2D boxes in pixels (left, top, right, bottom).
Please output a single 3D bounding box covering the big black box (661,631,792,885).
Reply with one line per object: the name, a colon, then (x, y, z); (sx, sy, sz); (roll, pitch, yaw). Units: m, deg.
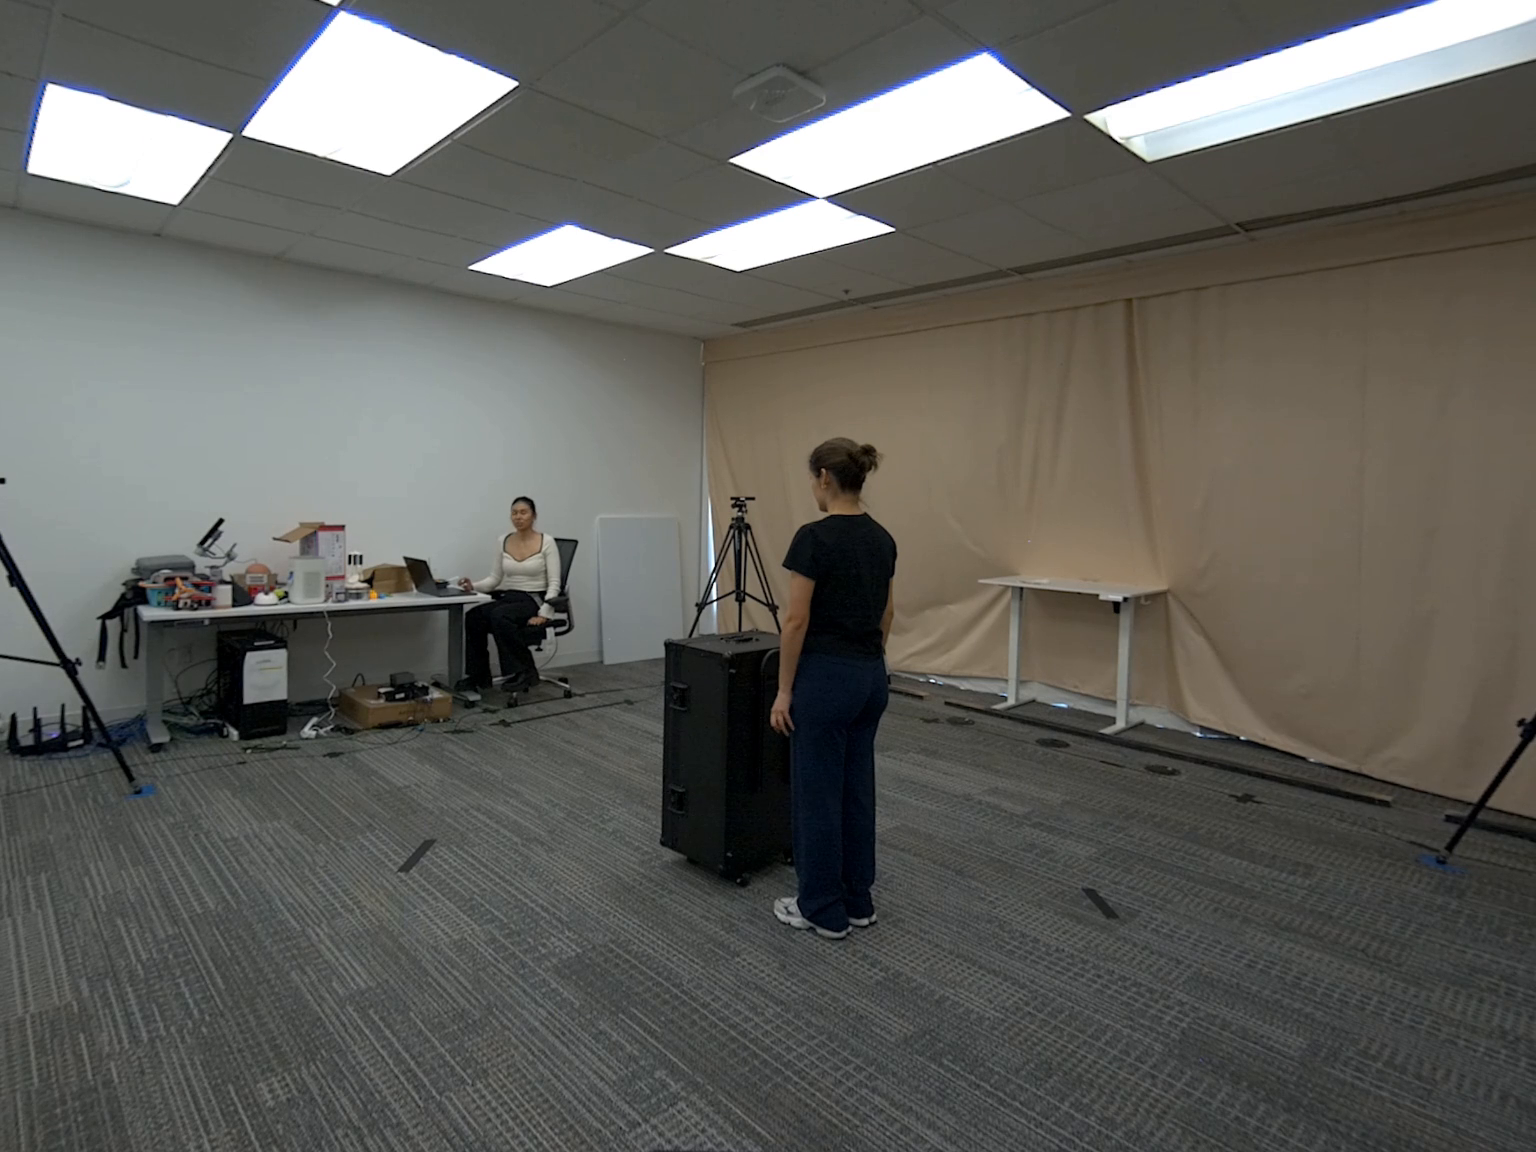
big black box: (-0.102, 0.618, 3.193); (0.509, 0.860, 0.406); (-2, 4, -45)
